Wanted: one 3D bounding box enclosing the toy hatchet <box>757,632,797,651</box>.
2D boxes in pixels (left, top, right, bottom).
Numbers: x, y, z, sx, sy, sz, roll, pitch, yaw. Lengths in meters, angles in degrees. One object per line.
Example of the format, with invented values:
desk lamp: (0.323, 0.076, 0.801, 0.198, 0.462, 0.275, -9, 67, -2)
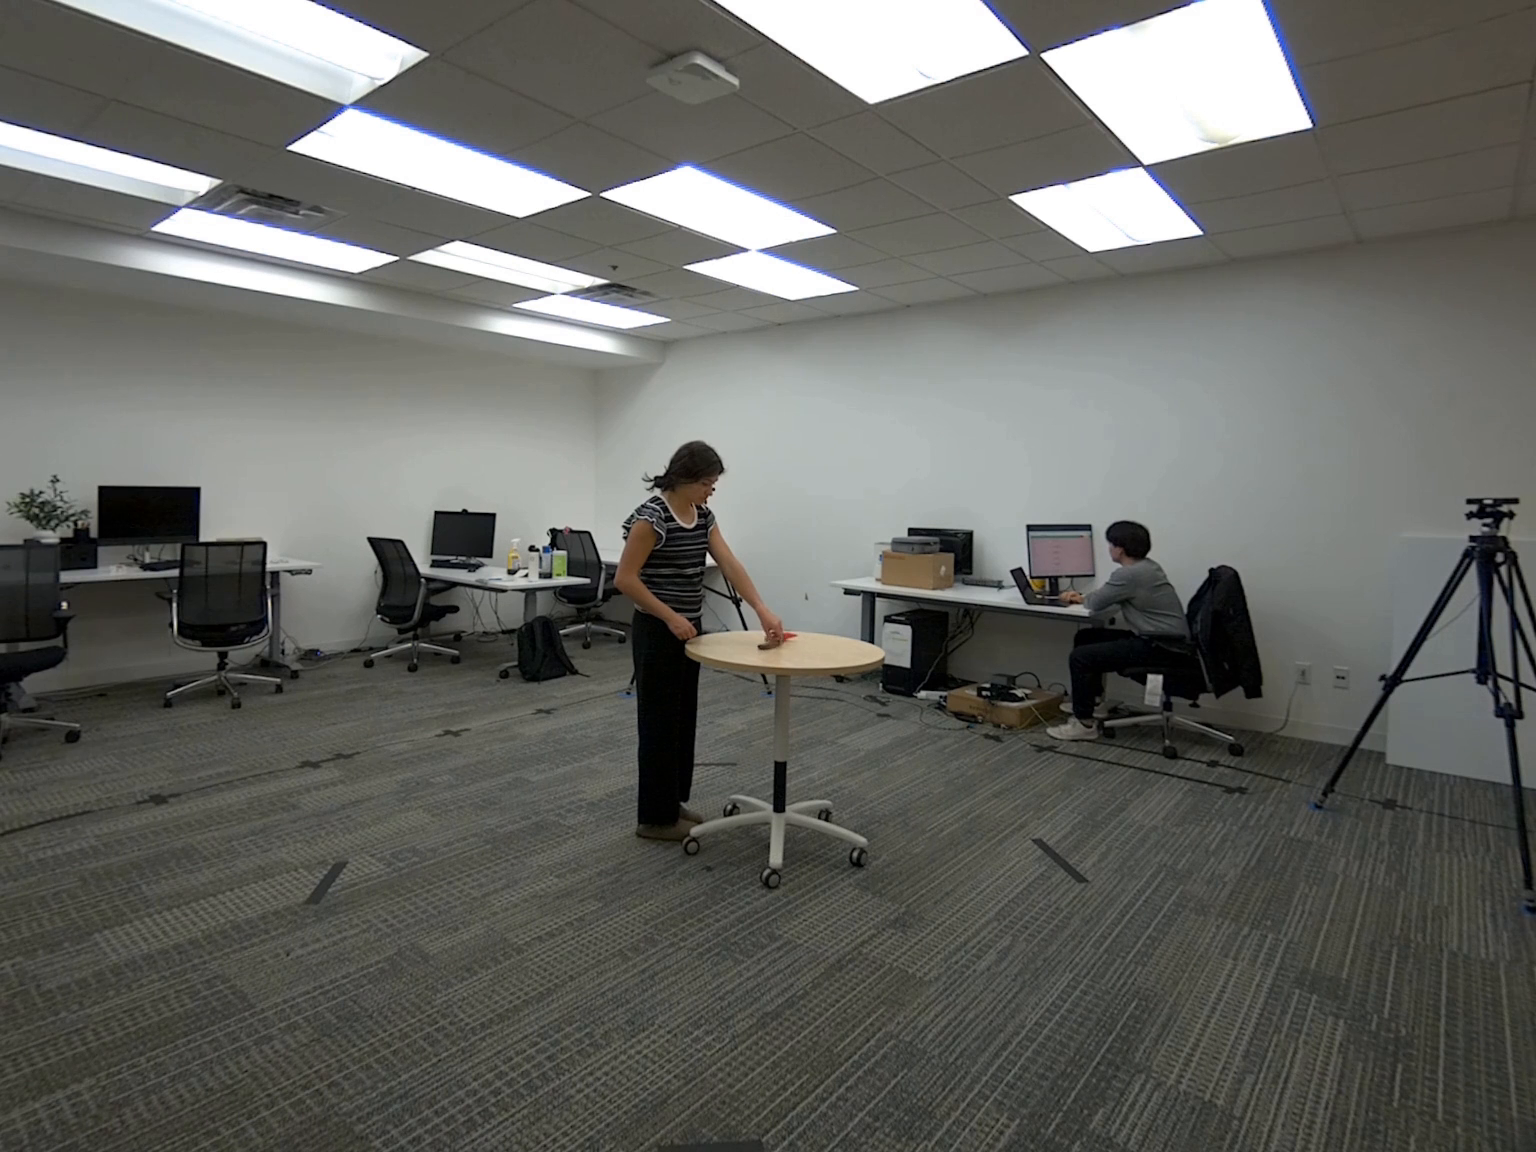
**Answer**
toy hatchet: (-0.006, 0.255, 3.336, 0.135, 0.029, 0.263, 0, 7, 33)
